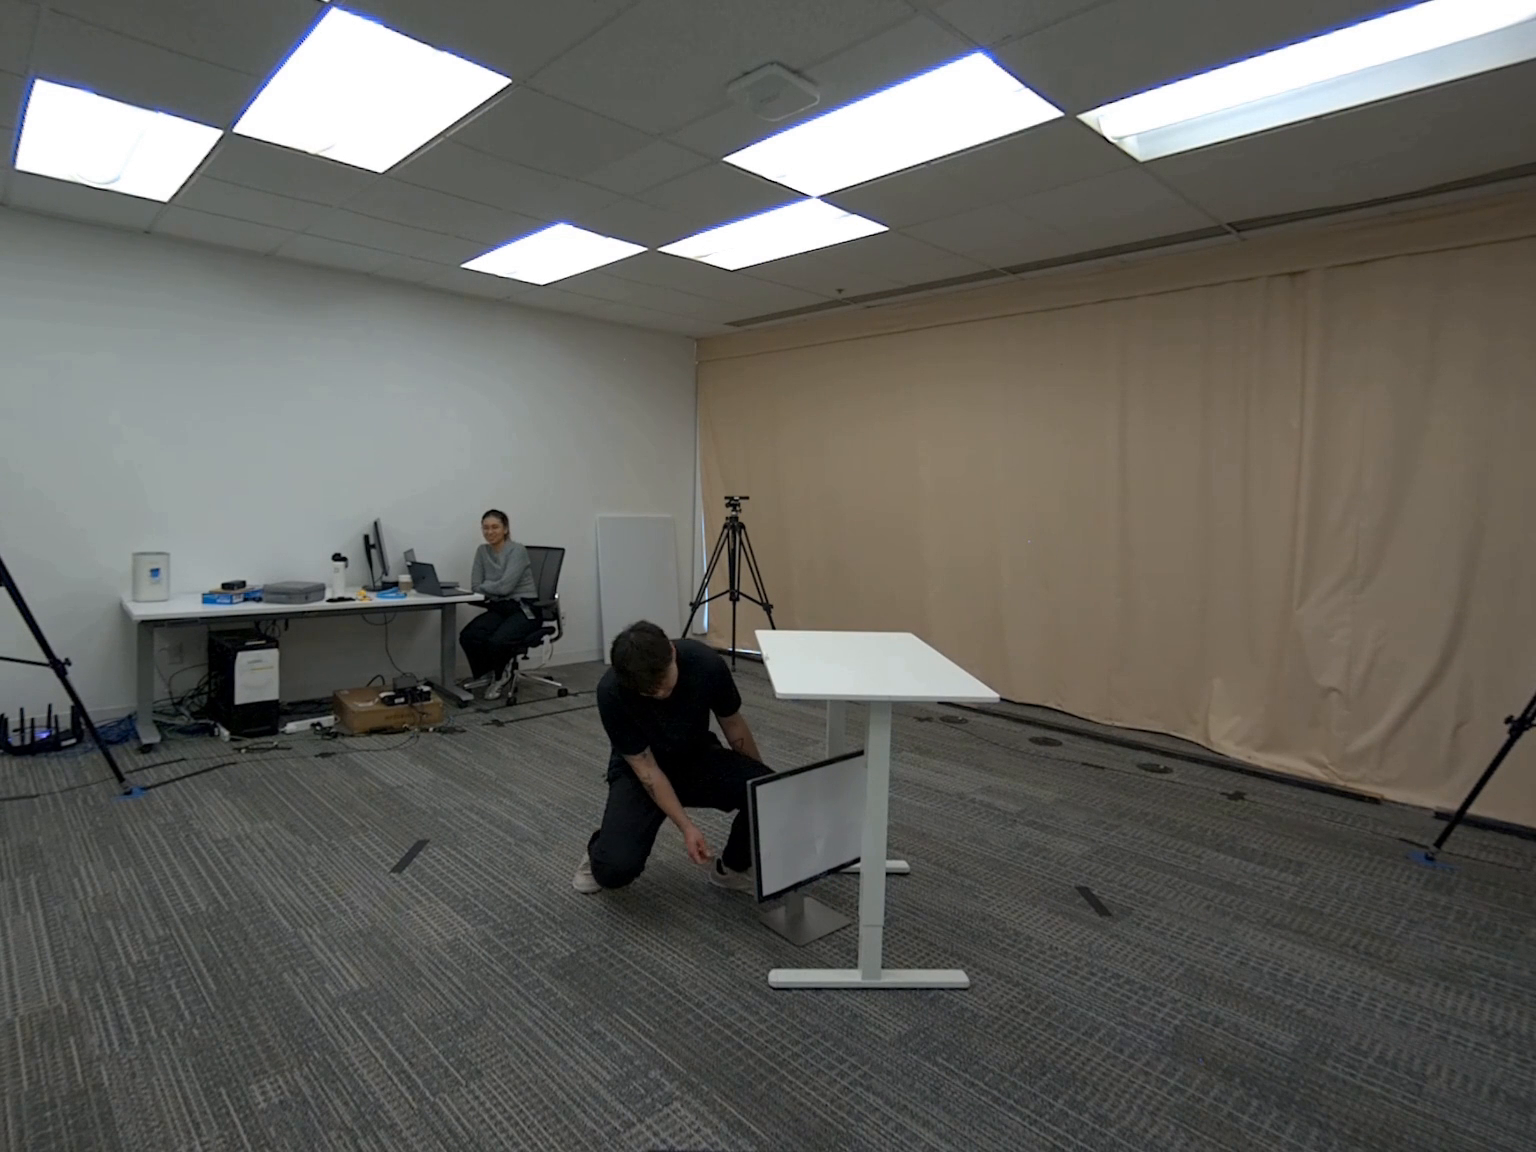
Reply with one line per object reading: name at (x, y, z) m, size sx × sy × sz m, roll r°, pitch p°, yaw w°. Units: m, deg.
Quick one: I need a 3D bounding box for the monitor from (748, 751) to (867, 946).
monitor at (0.120, 0.875, 2.743) m, size 0.527 × 0.520 × 0.192 m, roll -5°, pitch 10°, yaw -43°
